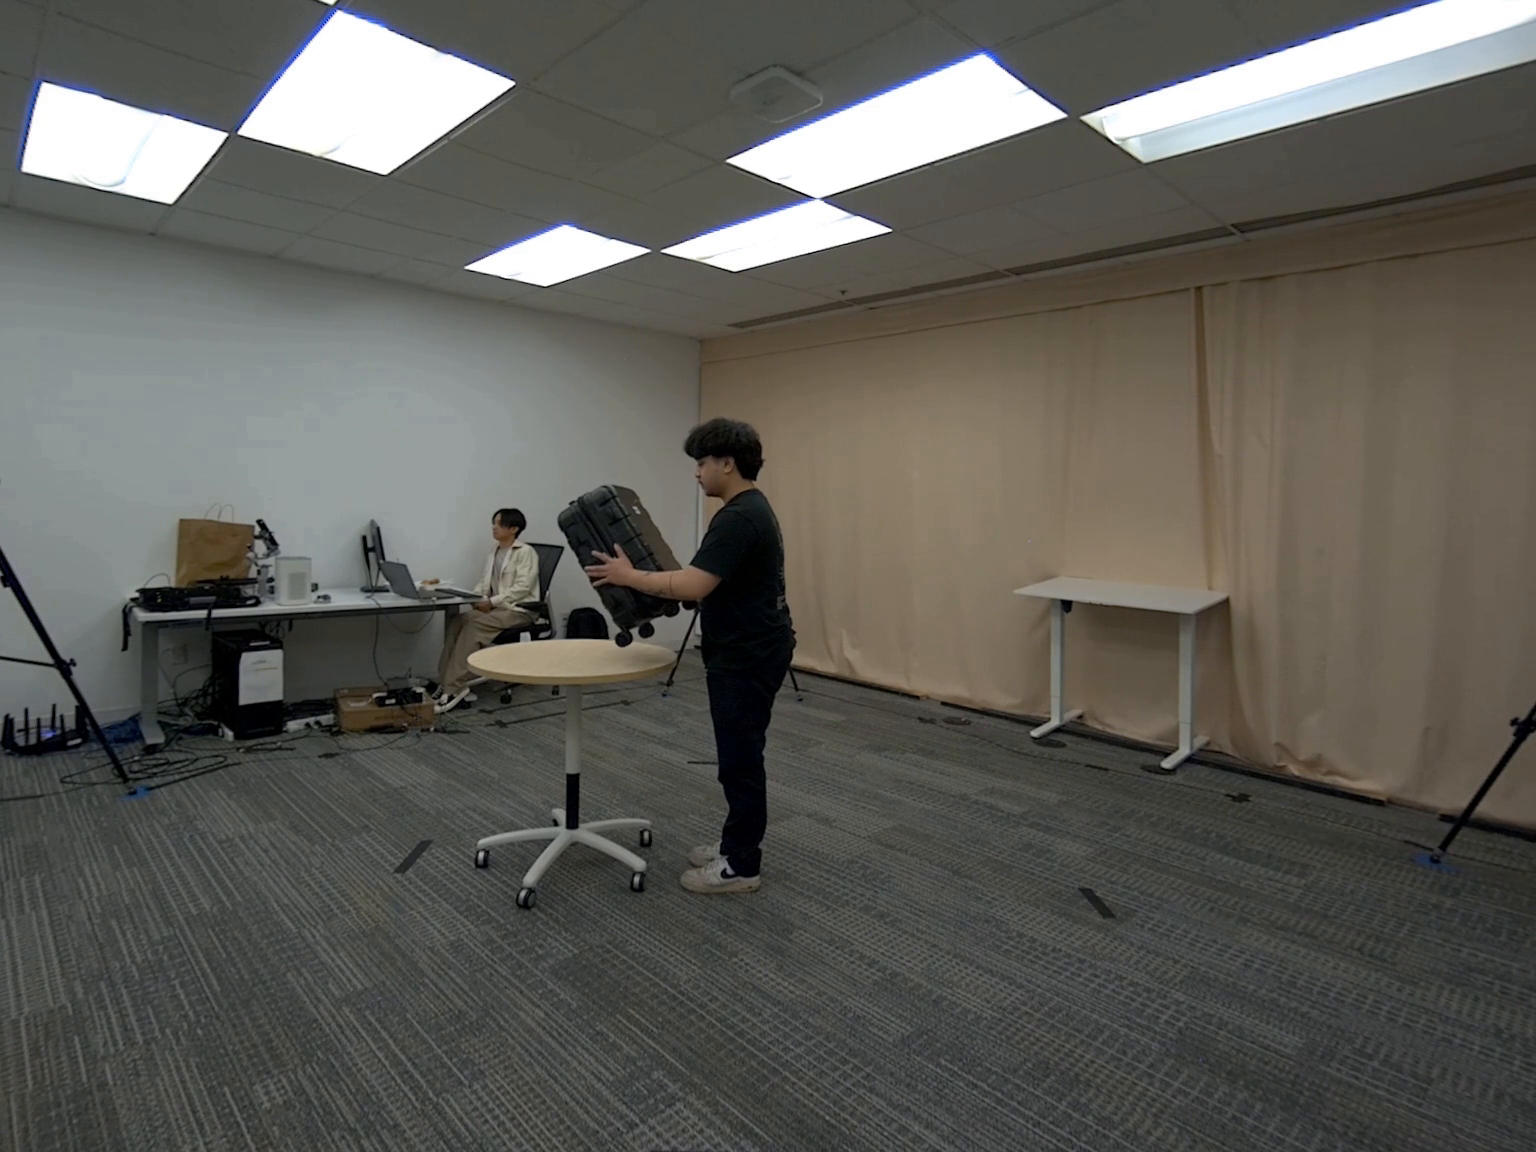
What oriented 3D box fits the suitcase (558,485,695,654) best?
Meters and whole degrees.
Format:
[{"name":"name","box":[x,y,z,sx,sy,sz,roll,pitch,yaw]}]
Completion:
[{"name":"suitcase","box":[-0.523,-0.053,3.097,0.249,0.551,0.373,-31,-2,10]}]
